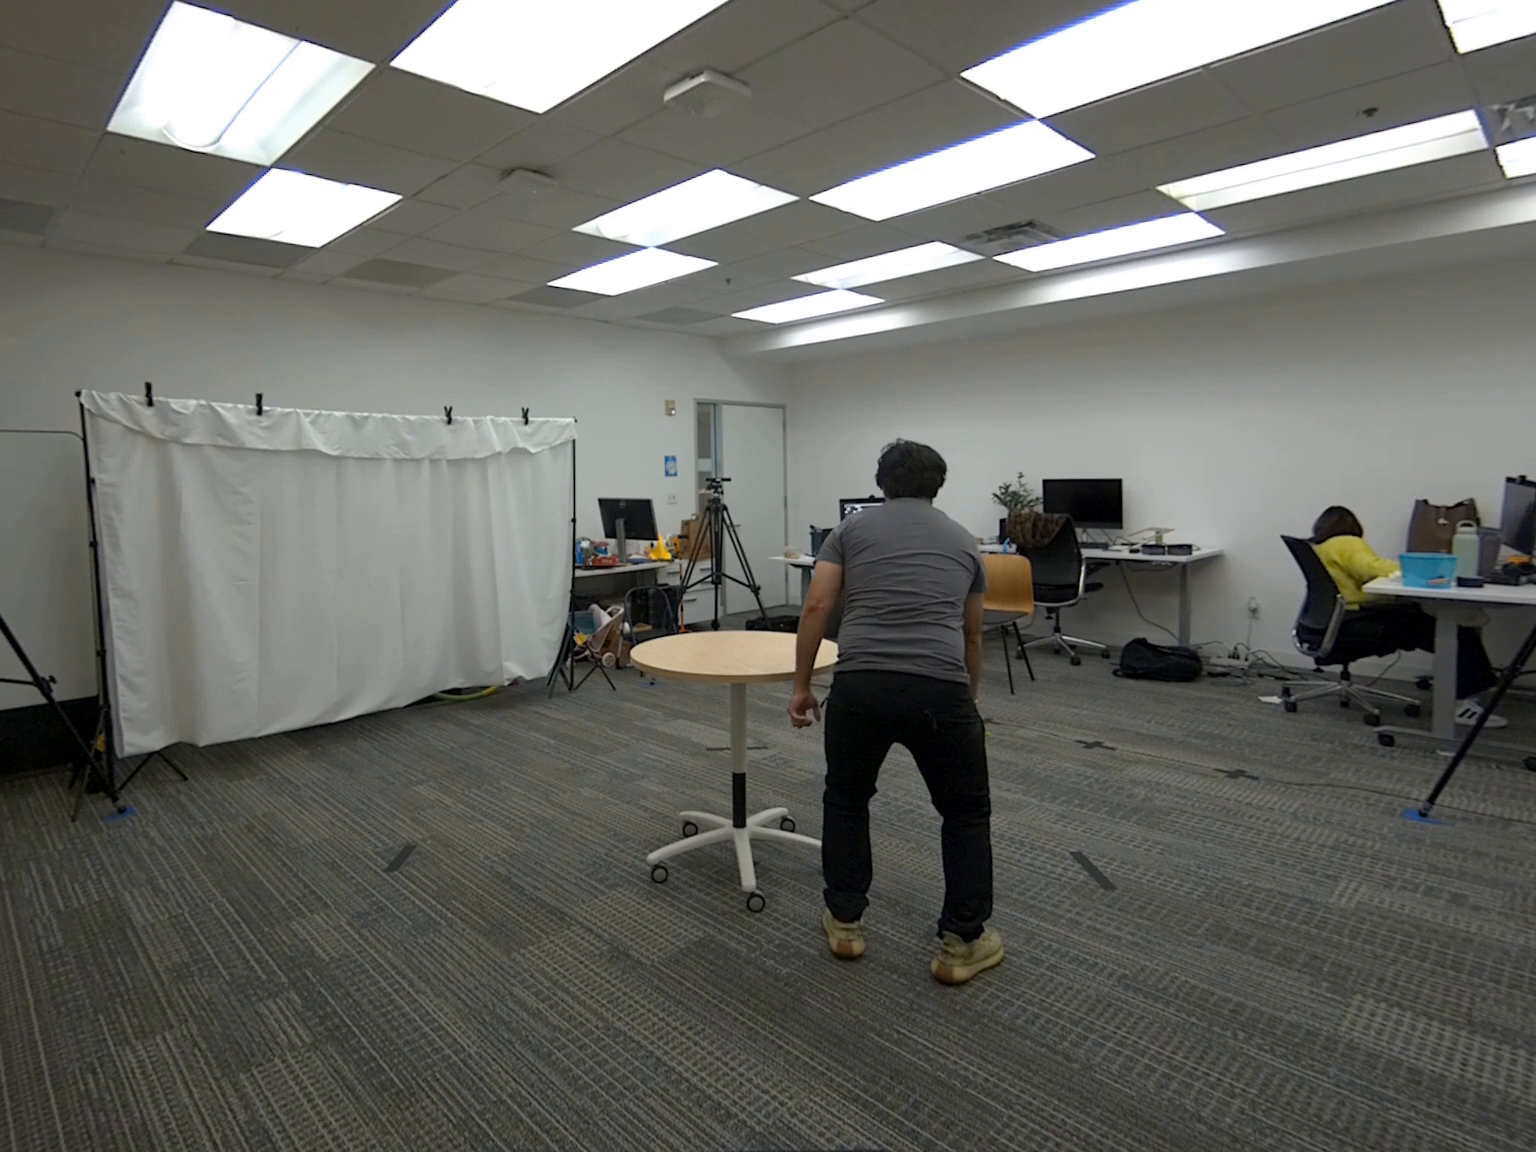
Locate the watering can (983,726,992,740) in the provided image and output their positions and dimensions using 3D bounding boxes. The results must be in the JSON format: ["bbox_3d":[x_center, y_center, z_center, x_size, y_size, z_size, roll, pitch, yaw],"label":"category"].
[{"bbox_3d":[0.604,0.541,2.789,0.177,0.098,0.277,-38,-1,-3],"label":"watering can"}]
